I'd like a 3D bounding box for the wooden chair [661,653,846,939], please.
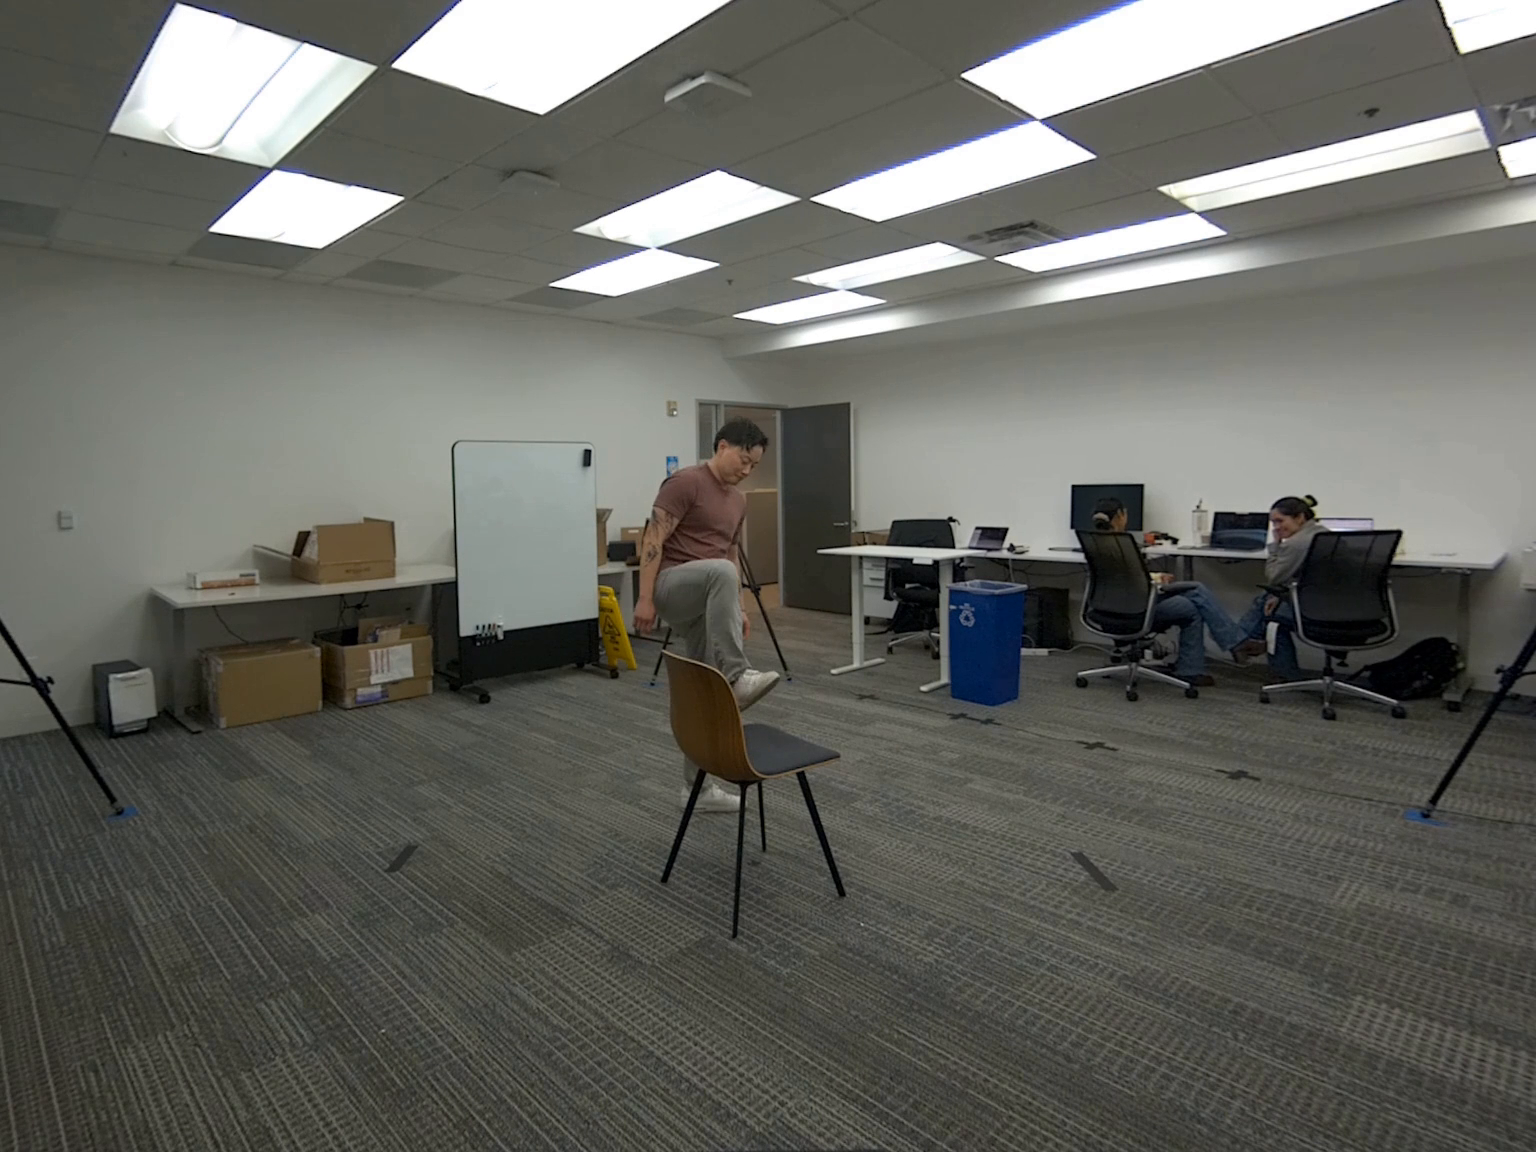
[{"bbox_3d":[-0.056,0.642,2.877,0.511,0.872,0.492,-9,8,-35],"label":"wooden chair"}]
